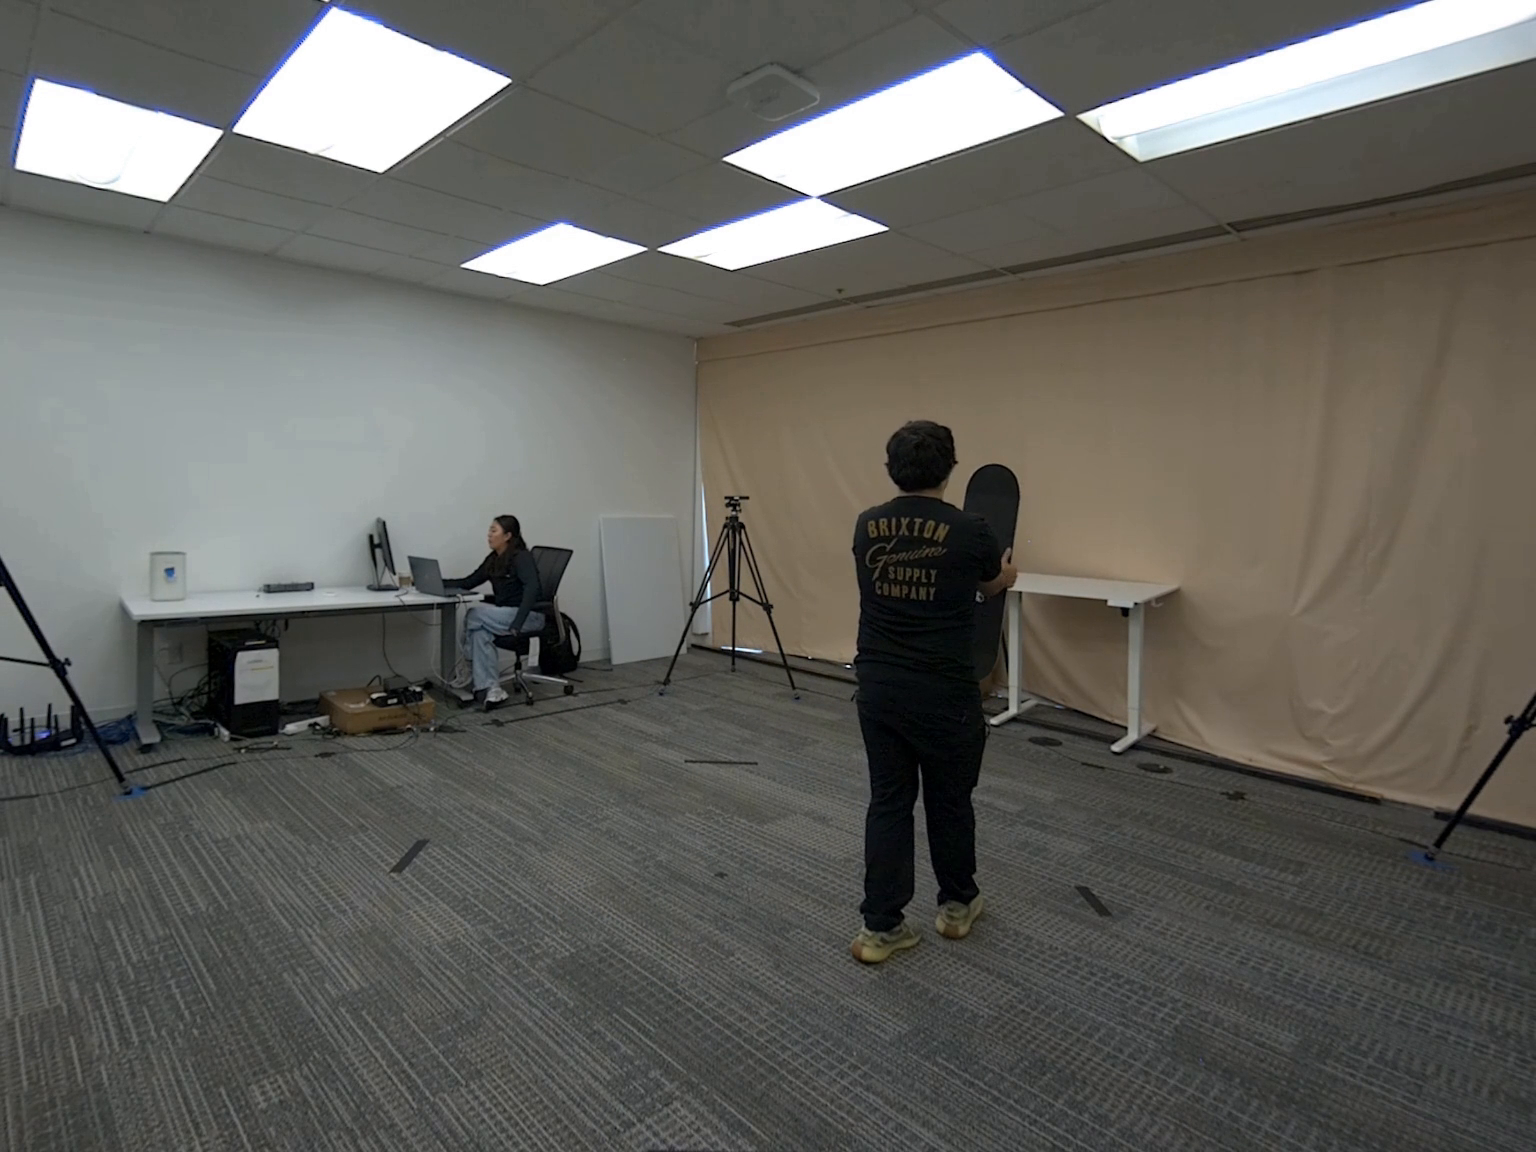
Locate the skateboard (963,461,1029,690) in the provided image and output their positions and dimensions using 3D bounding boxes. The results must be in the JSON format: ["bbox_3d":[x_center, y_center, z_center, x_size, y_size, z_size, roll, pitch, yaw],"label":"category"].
[{"bbox_3d":[0.776,-0.006,3.043,0.197,0.786,0.108,8,-1,20],"label":"skateboard"}]
